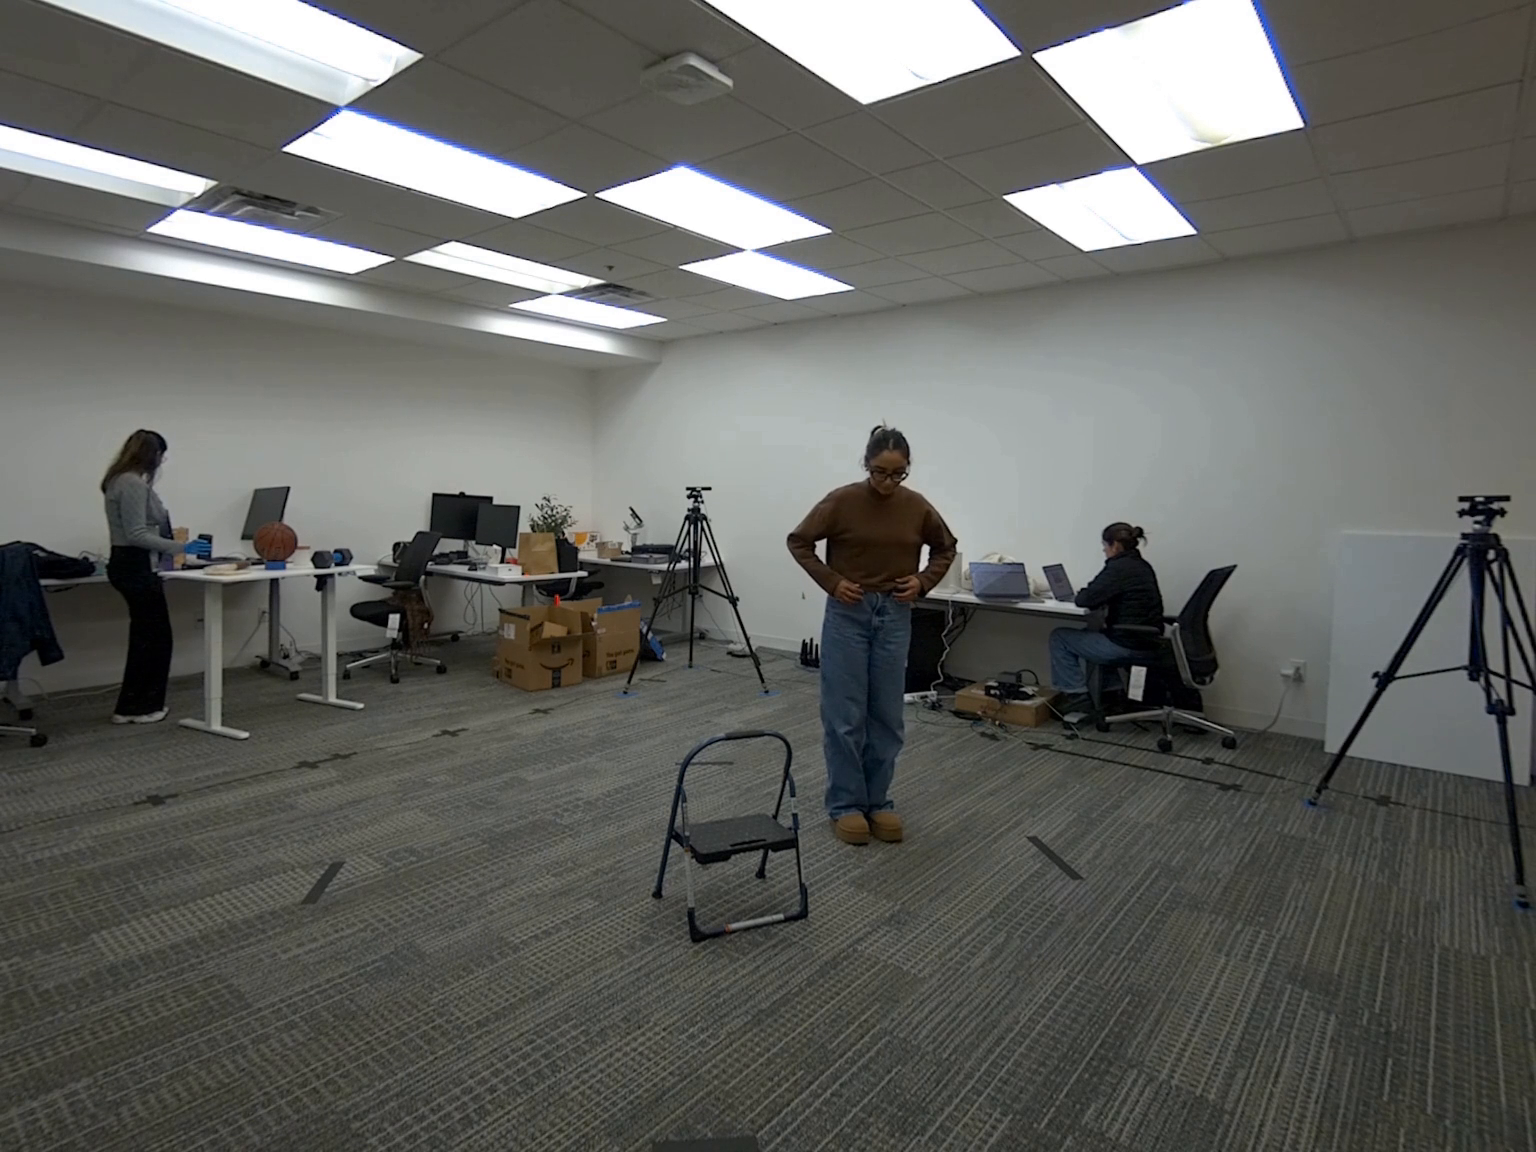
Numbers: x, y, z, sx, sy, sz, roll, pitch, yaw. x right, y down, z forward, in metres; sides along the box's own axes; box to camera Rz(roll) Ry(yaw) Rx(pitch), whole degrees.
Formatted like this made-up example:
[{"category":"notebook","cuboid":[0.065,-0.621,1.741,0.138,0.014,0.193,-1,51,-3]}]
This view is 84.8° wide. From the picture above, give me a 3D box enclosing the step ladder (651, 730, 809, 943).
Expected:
[{"category":"step ladder","cuboid":[-0.133,0.794,2.814,0.420,0.604,0.359,-1,4,-27]}]
